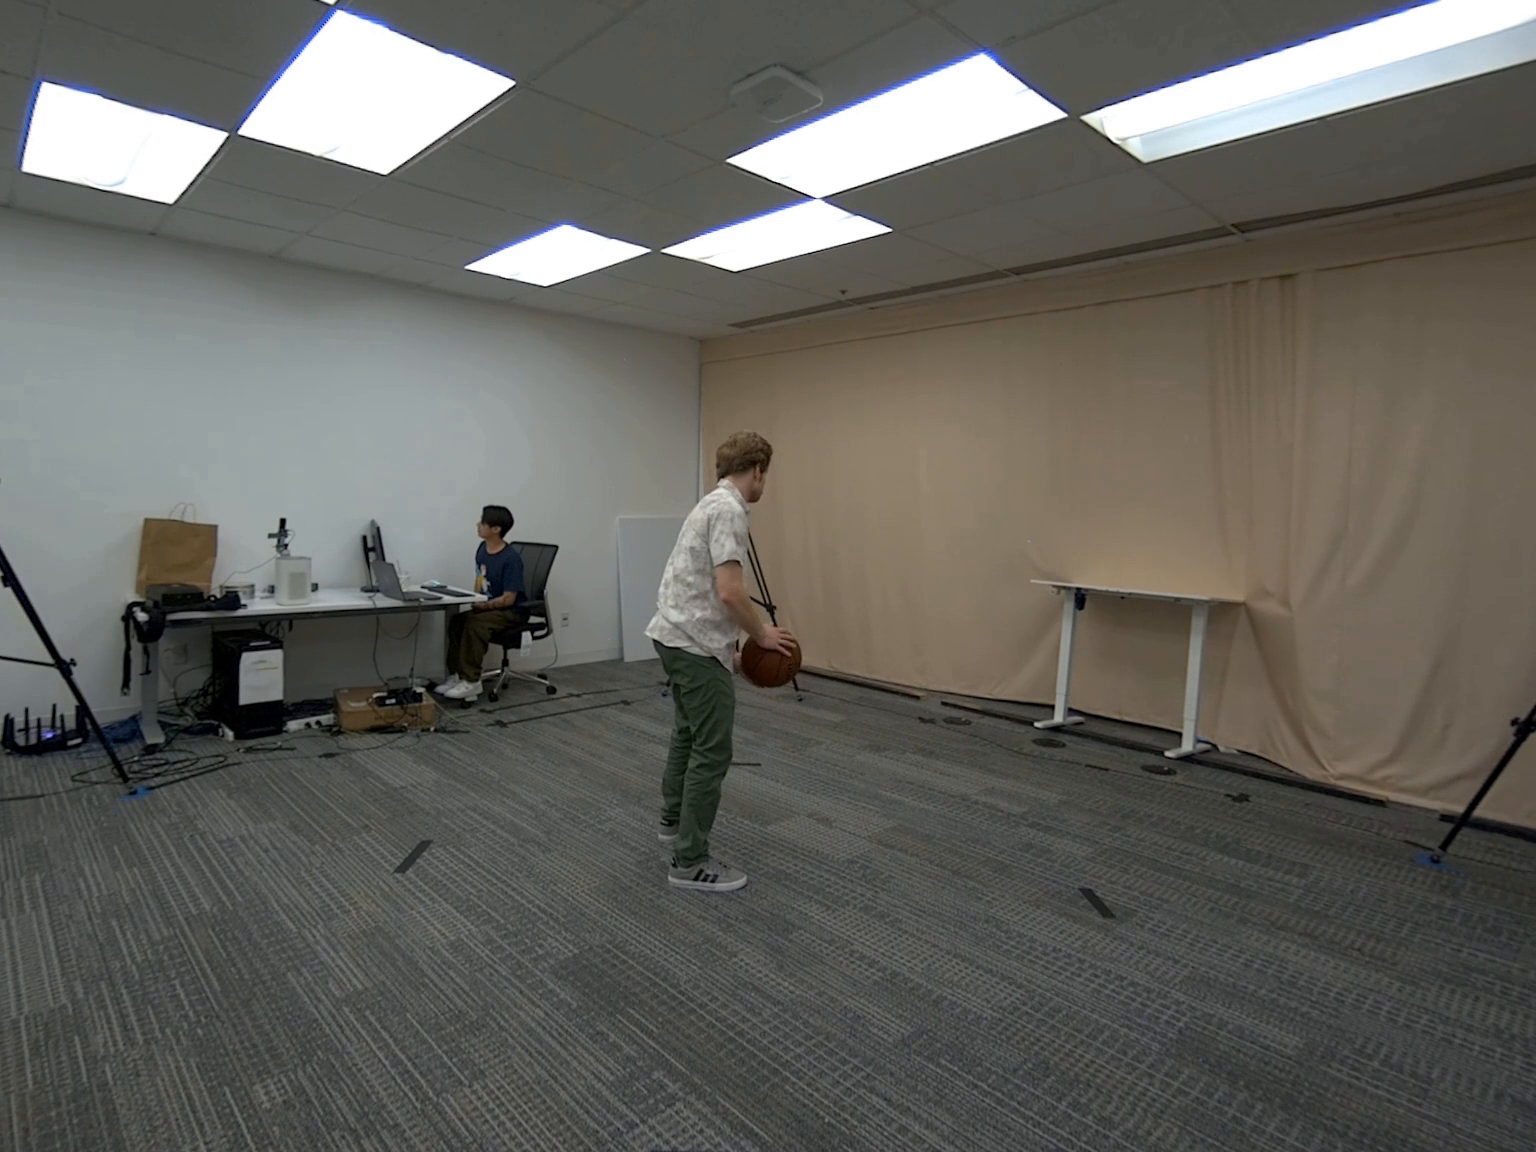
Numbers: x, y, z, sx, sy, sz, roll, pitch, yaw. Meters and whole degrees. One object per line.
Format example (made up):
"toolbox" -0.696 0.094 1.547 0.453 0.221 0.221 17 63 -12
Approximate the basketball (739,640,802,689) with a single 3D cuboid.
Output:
"basketball" 0.006 0.310 3.314 0.236 0.235 0.237 1 4 -1
